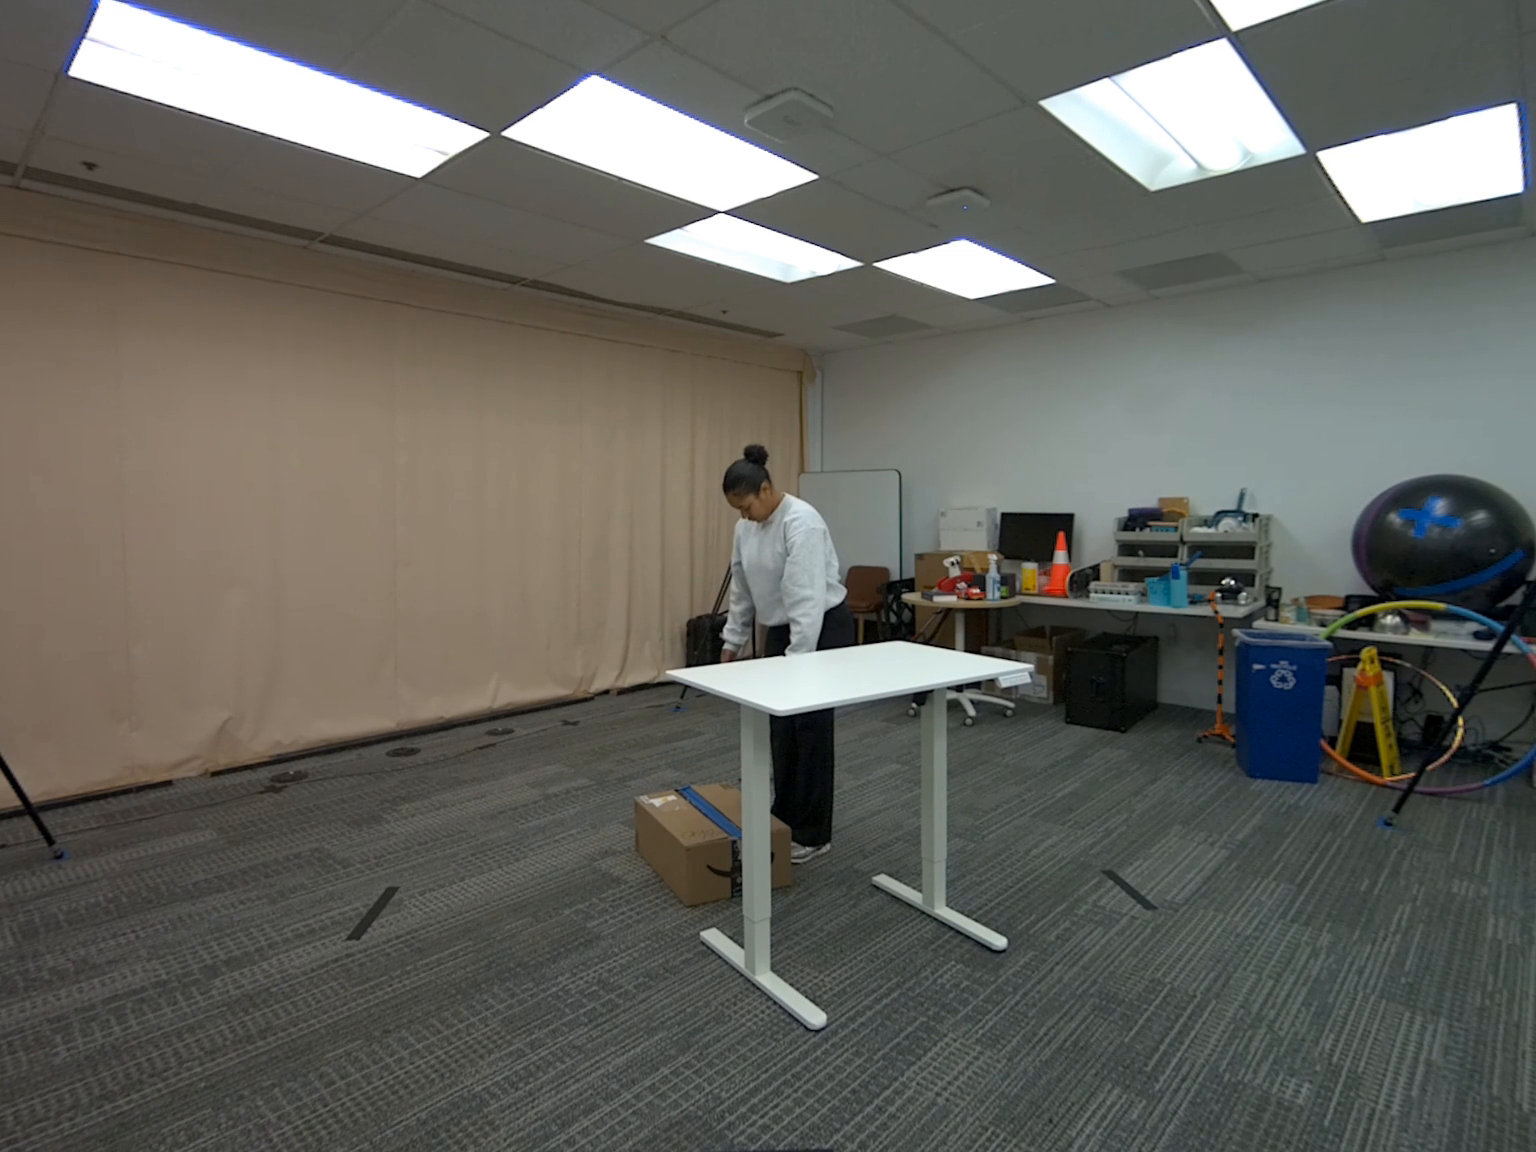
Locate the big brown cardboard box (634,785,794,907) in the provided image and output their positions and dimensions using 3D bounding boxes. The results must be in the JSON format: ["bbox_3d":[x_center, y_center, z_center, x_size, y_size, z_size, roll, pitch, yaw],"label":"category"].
[{"bbox_3d":[-0.230,1.011,3.249,0.407,0.232,0.605,-3,5,-27],"label":"big brown cardboard box"}]
